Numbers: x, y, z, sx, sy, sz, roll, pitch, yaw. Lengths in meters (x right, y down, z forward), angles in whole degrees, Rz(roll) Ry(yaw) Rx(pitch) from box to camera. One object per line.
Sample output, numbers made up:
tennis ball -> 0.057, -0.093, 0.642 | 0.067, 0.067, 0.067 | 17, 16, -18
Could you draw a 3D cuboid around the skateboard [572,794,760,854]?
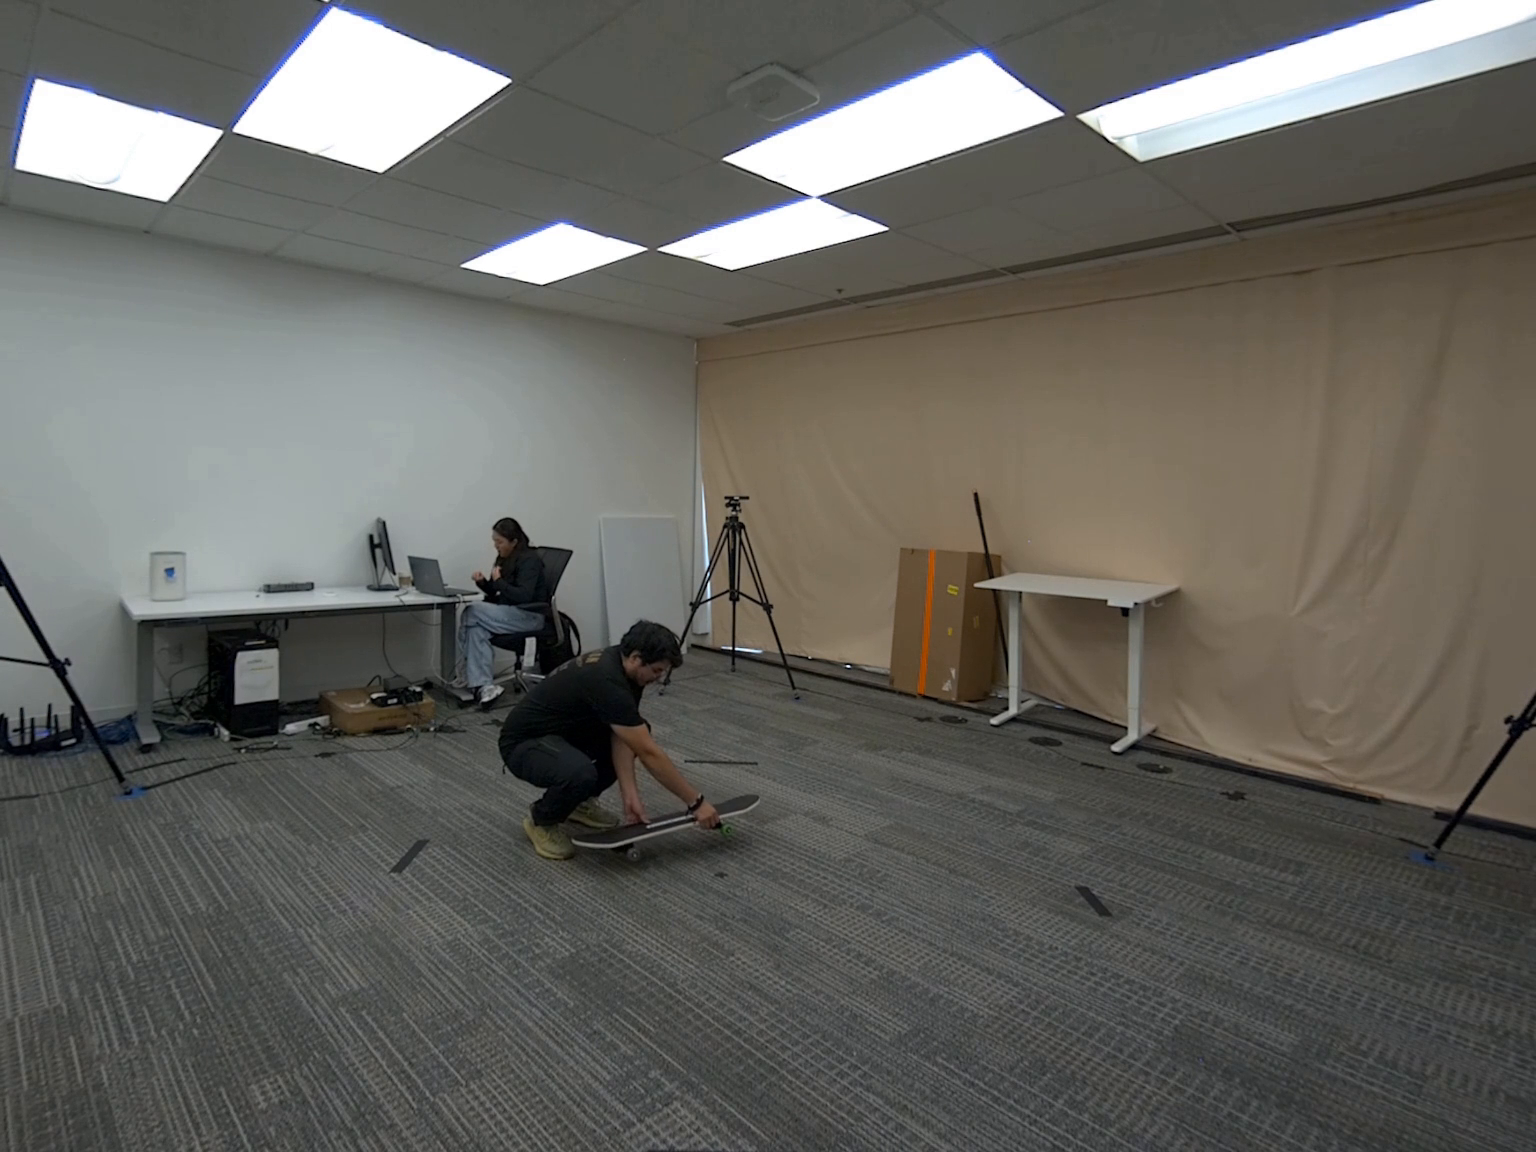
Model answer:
skateboard -> -0.386, 0.990, 3.262 | 0.771, 0.110, 0.197 | -6, -2, -30
